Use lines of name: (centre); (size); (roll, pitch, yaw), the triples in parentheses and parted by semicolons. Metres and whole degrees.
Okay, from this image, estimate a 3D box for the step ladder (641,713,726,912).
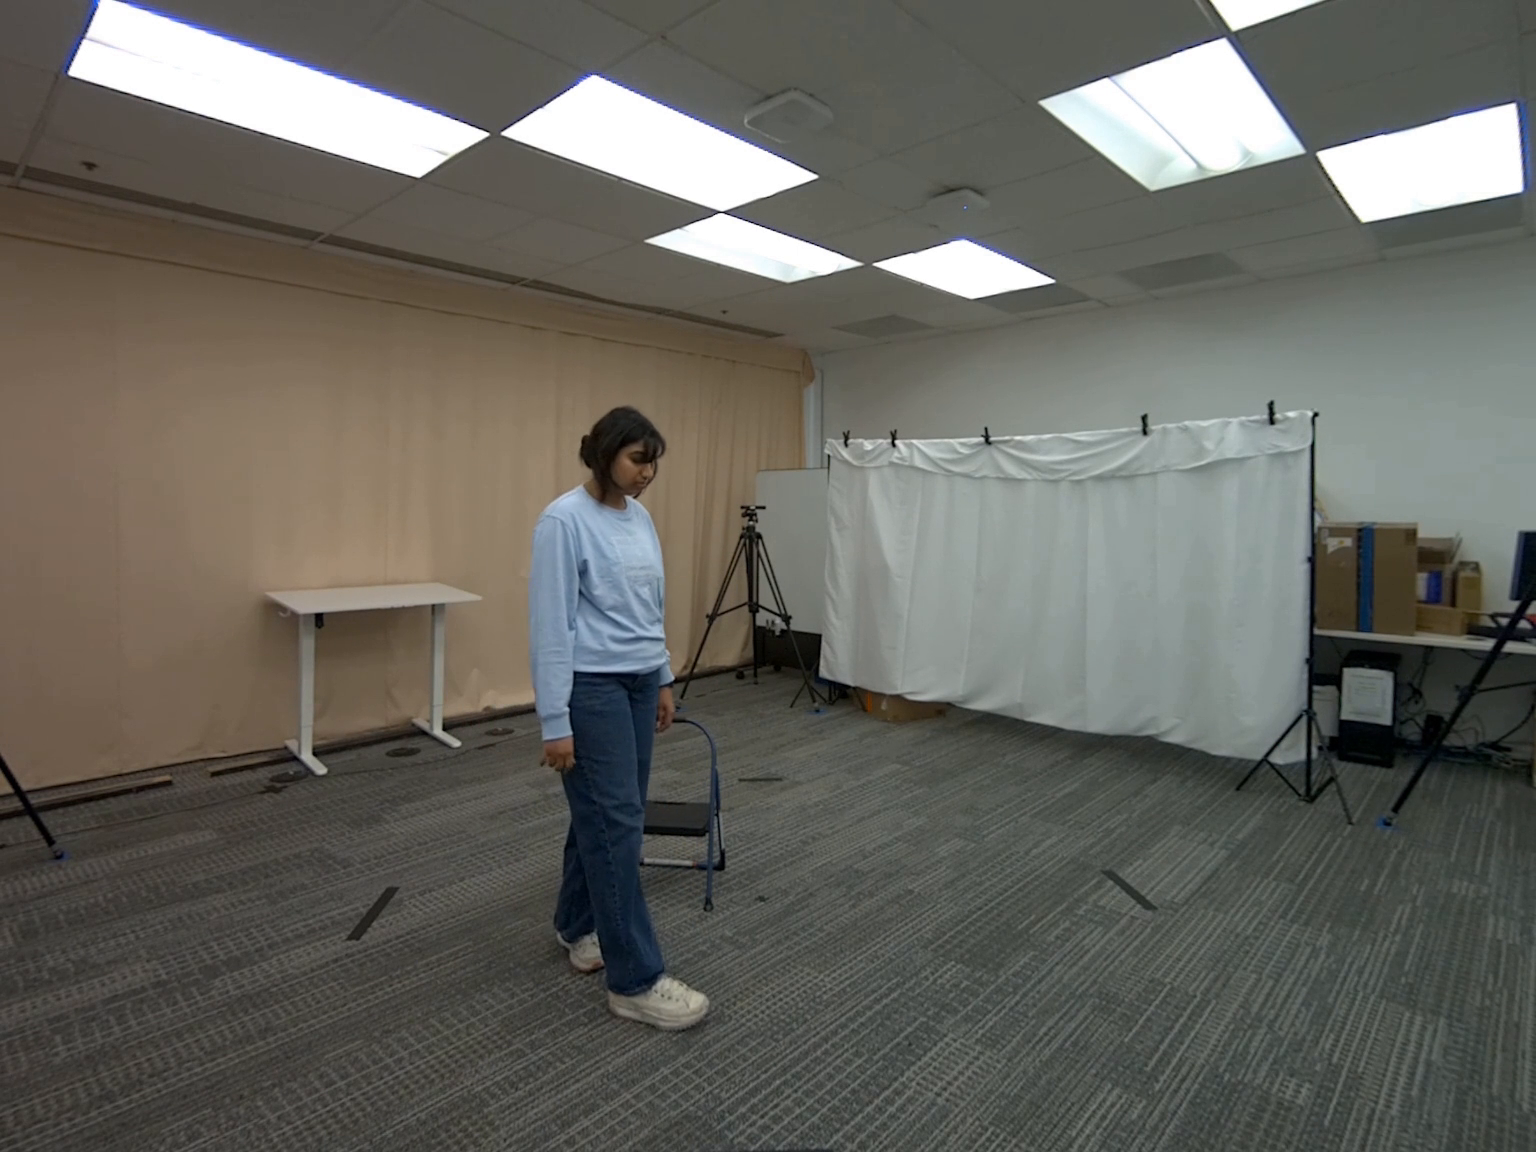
step ladder: (-0.386, 0.838, 3.089); (0.435, 0.605, 0.347); (0, 3, 8)
